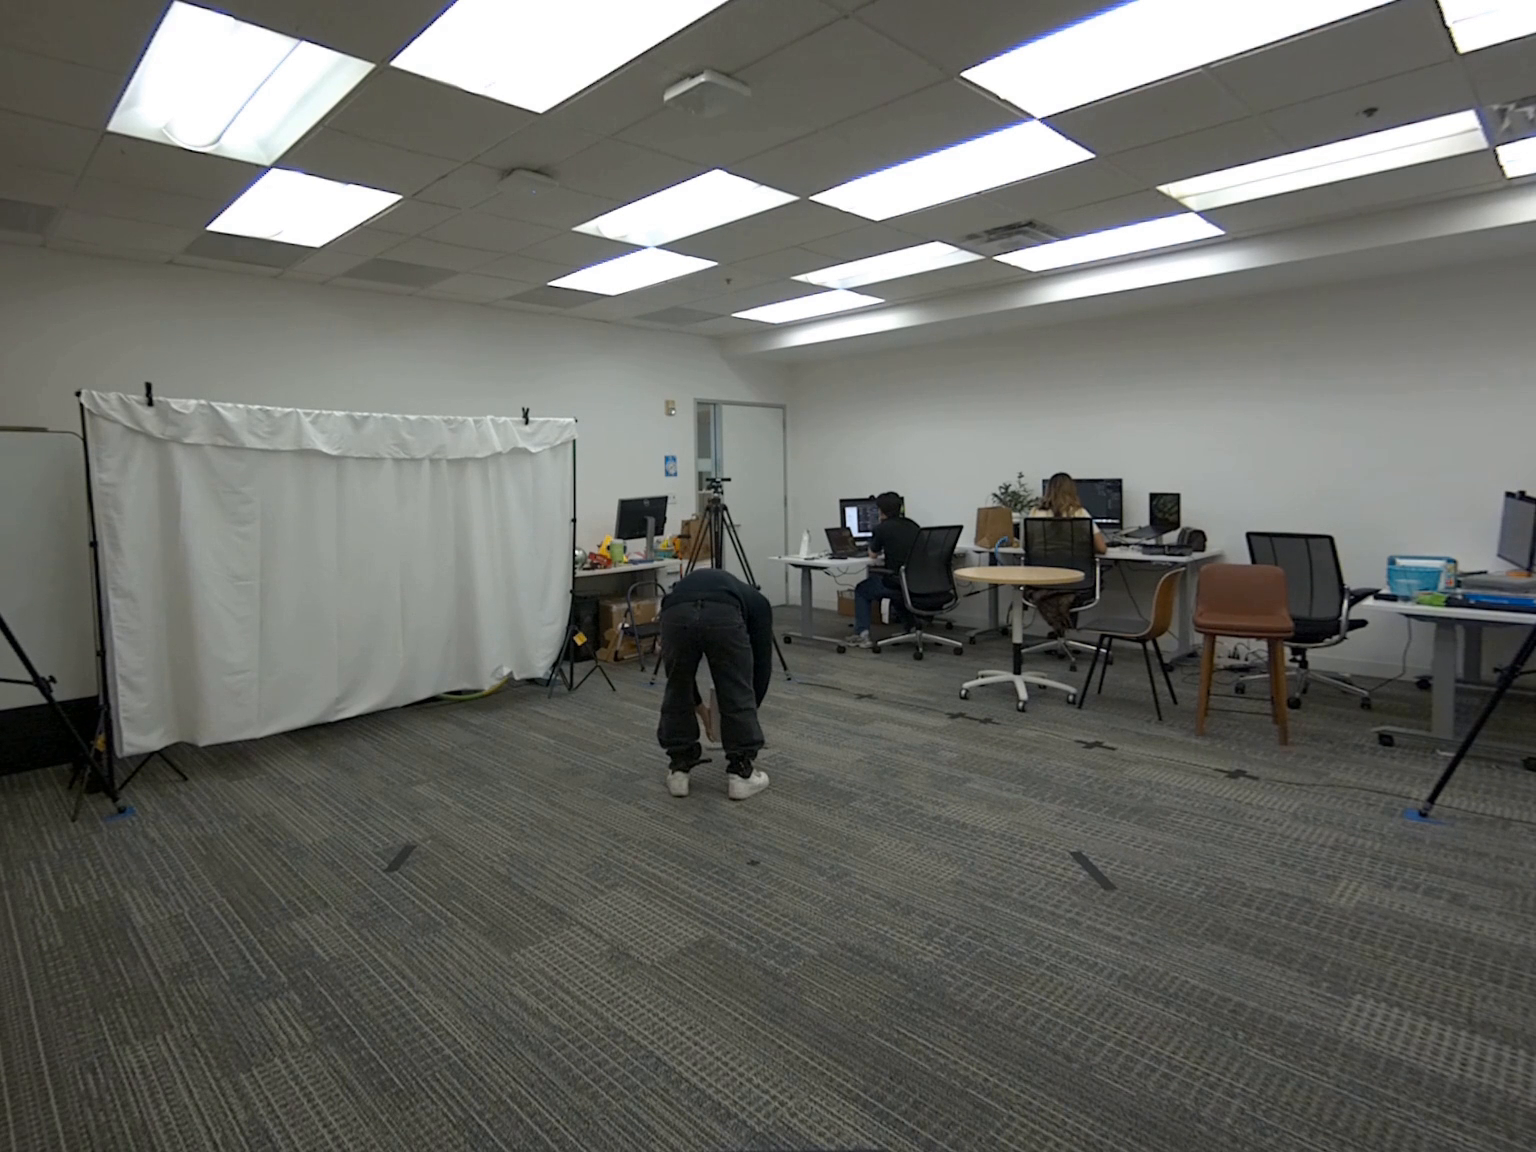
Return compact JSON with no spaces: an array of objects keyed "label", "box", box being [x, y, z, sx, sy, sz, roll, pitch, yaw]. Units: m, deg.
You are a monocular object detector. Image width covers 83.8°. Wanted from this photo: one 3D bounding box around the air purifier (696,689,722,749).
[{"label":"air purifier","box":[-0.208,0.669,4.137,0.172,0.260,0.174,-4,22,6]}]
